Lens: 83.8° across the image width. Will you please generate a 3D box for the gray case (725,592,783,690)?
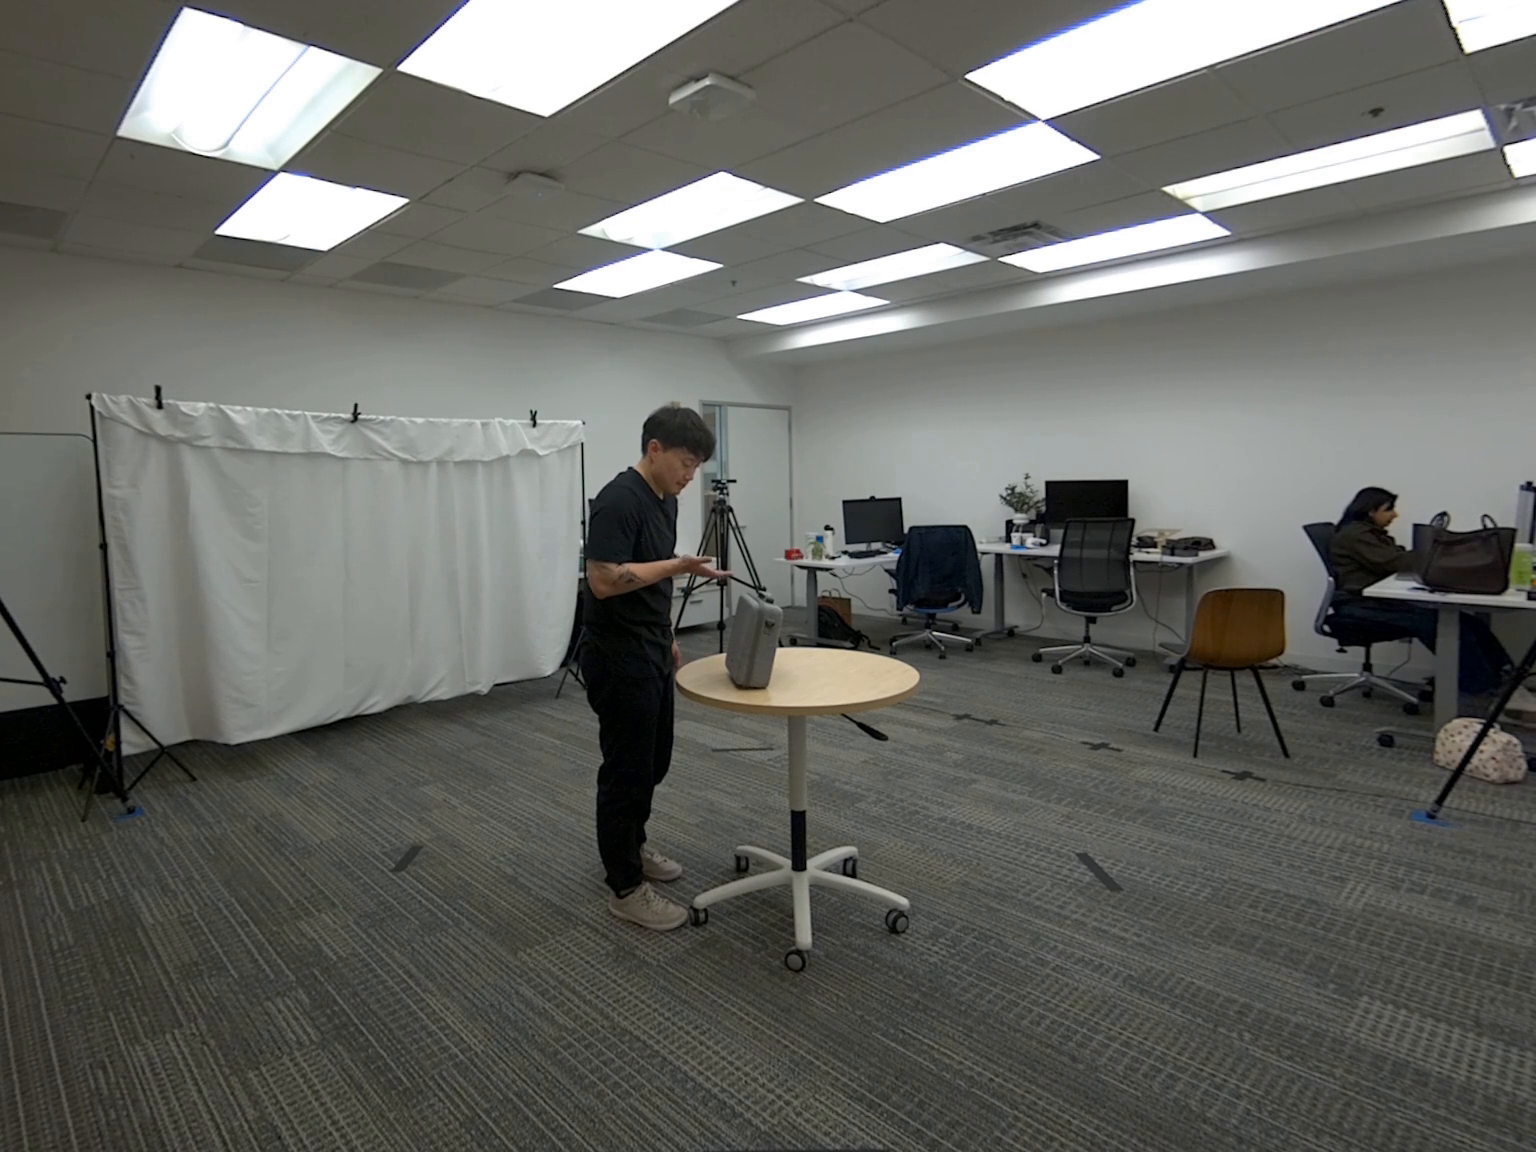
[{"bbox_3d":[-0.045,0.192,2.618,0.103,0.260,0.260,9,5,-11],"label":"gray case"}]
